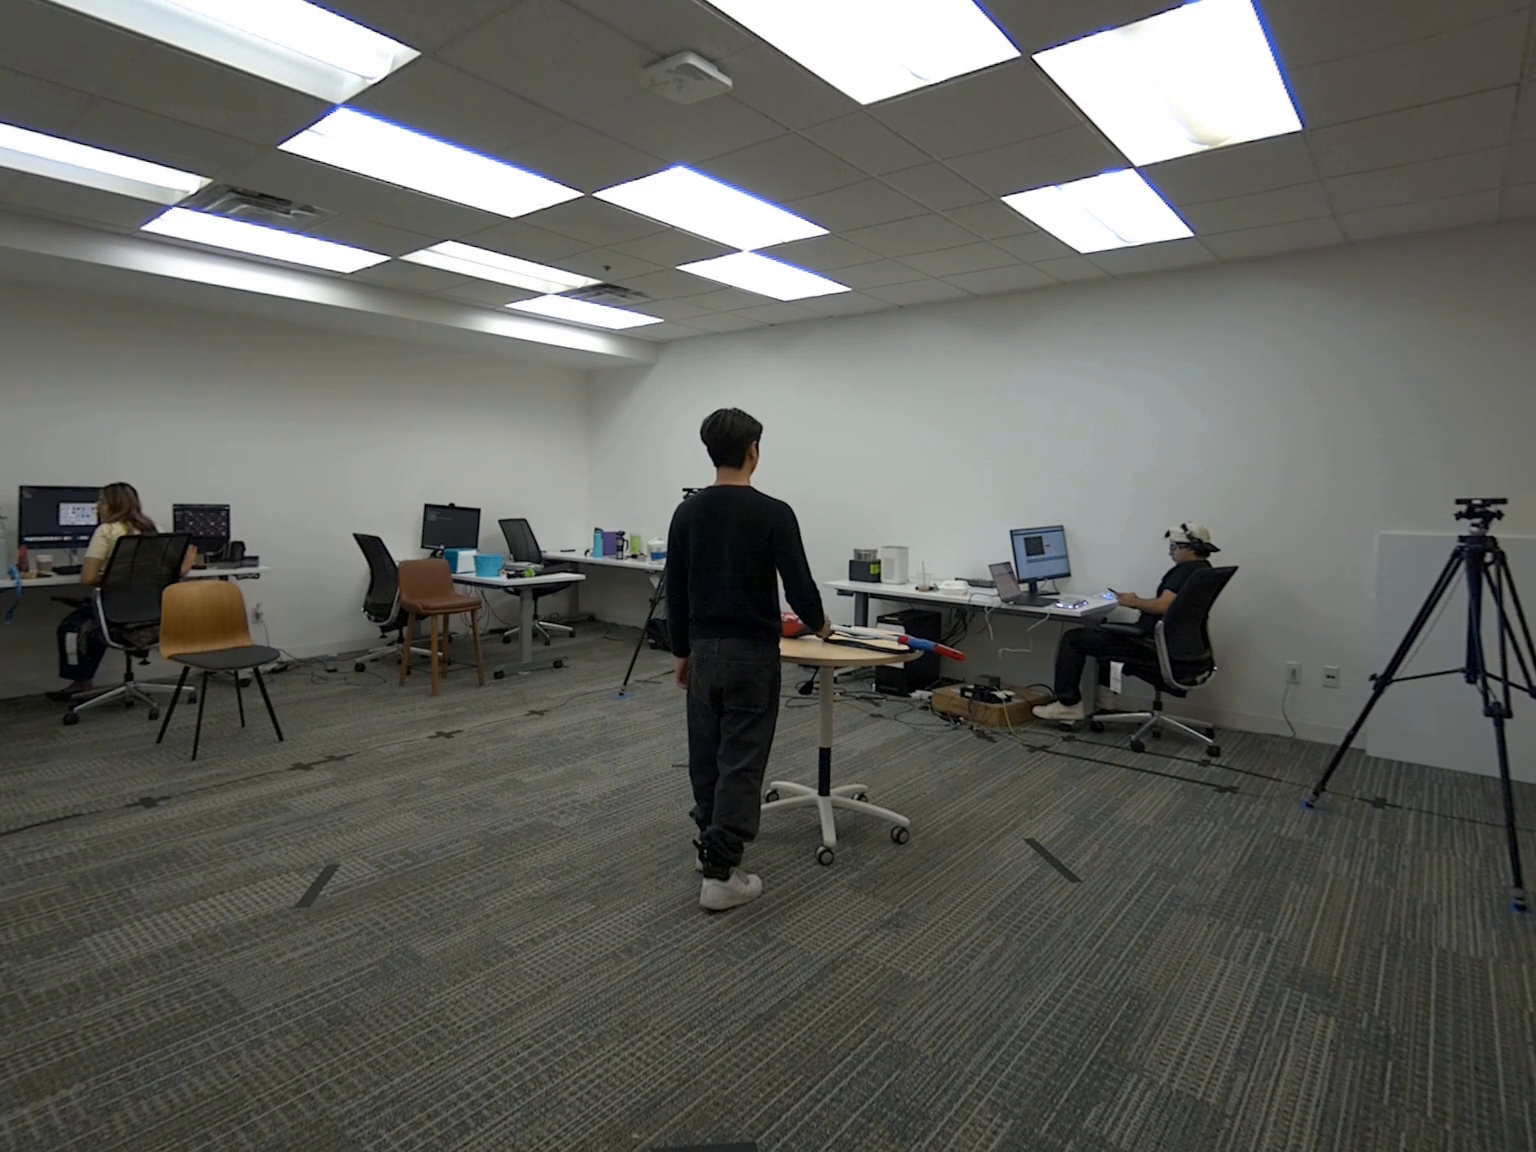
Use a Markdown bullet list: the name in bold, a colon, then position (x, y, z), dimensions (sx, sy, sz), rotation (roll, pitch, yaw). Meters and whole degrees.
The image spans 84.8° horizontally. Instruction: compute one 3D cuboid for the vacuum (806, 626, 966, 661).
- **vacuum**: position (0.263, 0.232, 3.387), dimensions (1.086, 0.255, 0.138), rotation (9, -25, 37)
